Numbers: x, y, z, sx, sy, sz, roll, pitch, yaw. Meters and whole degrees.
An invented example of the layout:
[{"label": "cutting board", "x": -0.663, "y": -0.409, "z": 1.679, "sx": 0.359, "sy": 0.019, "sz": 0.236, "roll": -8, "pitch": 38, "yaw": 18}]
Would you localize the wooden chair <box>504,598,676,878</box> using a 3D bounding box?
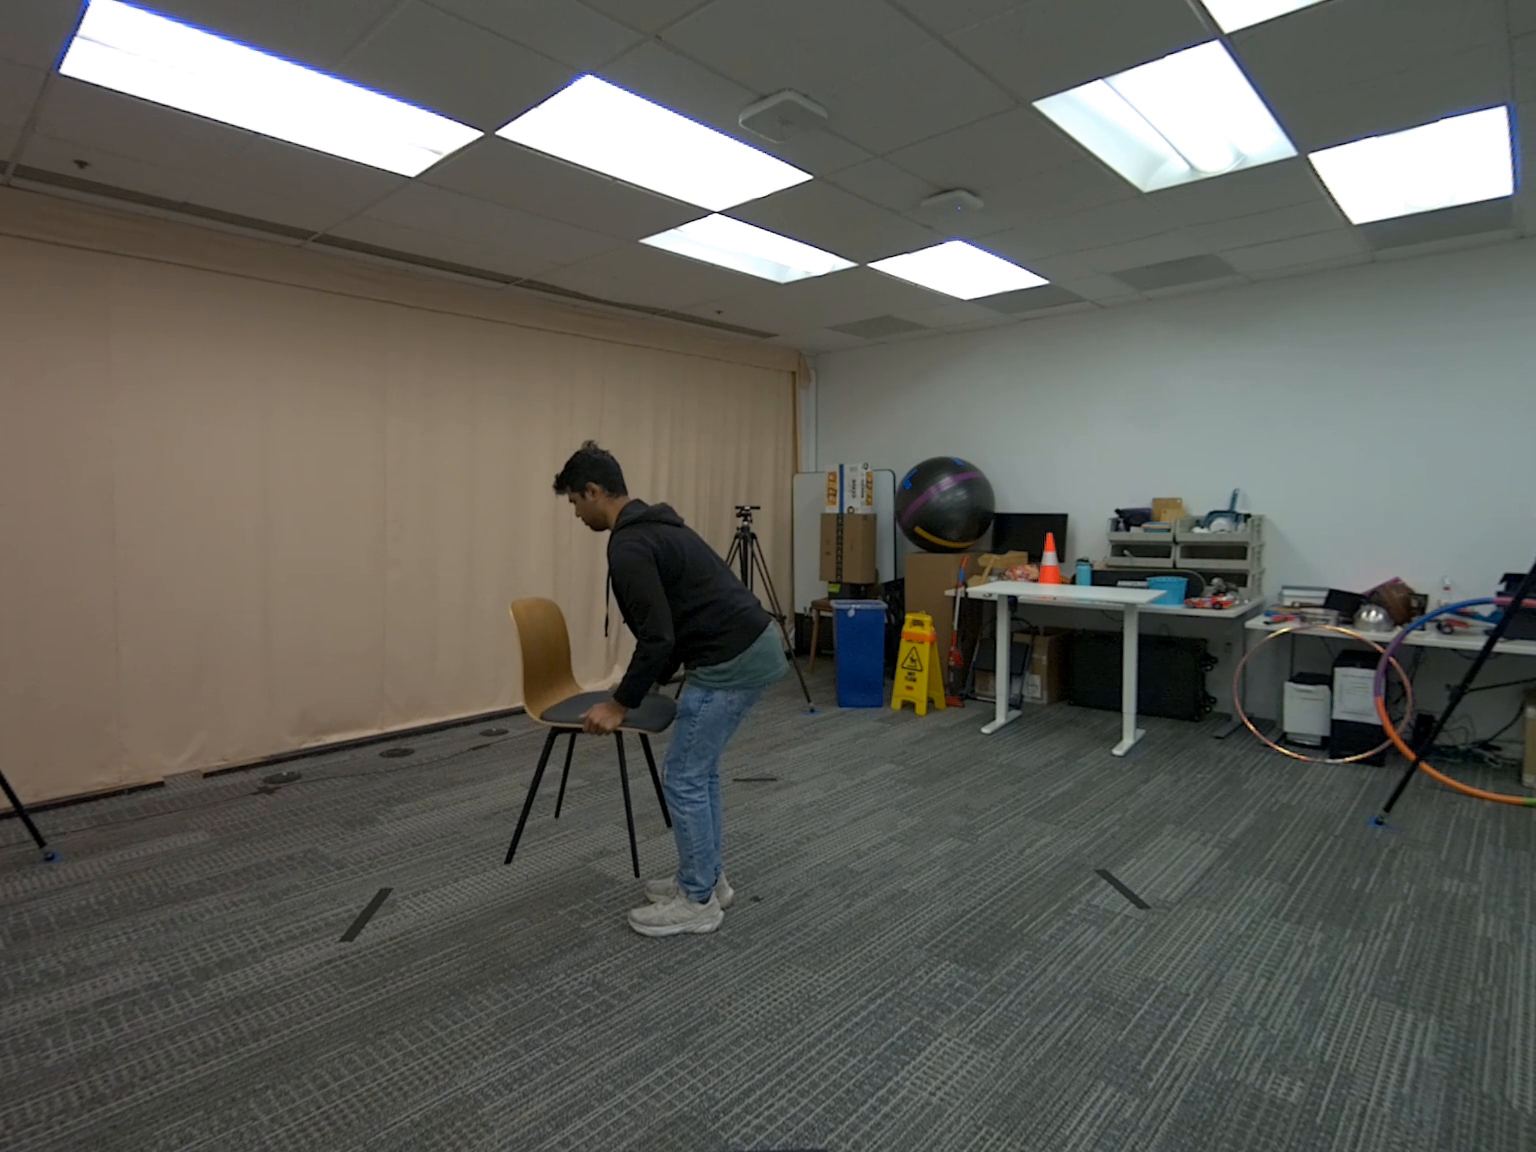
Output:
[{"label": "wooden chair", "x": -0.585, "y": 0.508, "z": 2.892, "sx": 0.529, "sy": 0.876, "sz": 0.473, "roll": -3, "pitch": 1, "yaw": 10}]
